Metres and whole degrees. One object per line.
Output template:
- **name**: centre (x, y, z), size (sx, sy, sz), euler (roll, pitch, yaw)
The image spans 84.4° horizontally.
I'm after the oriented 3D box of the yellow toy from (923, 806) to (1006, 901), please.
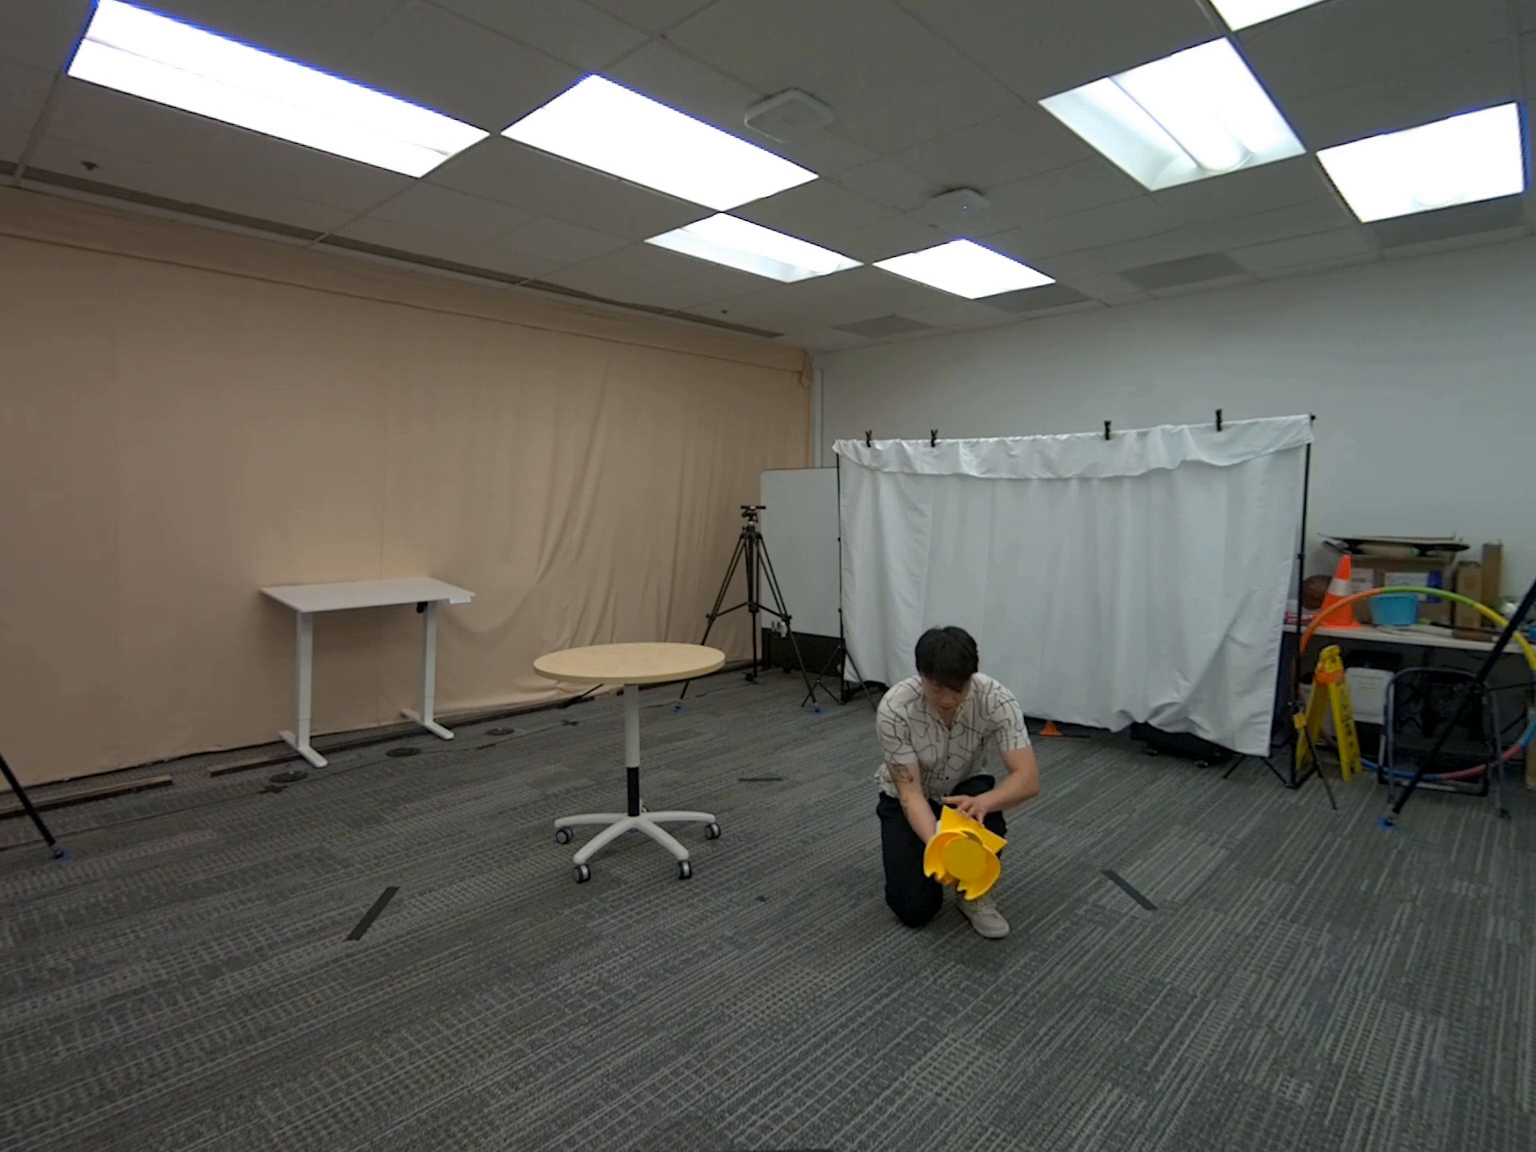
- **yellow toy**: centre (0.554, 0.783, 2.474), size (0.206, 0.193, 0.230), euler (29, 7, 2)
